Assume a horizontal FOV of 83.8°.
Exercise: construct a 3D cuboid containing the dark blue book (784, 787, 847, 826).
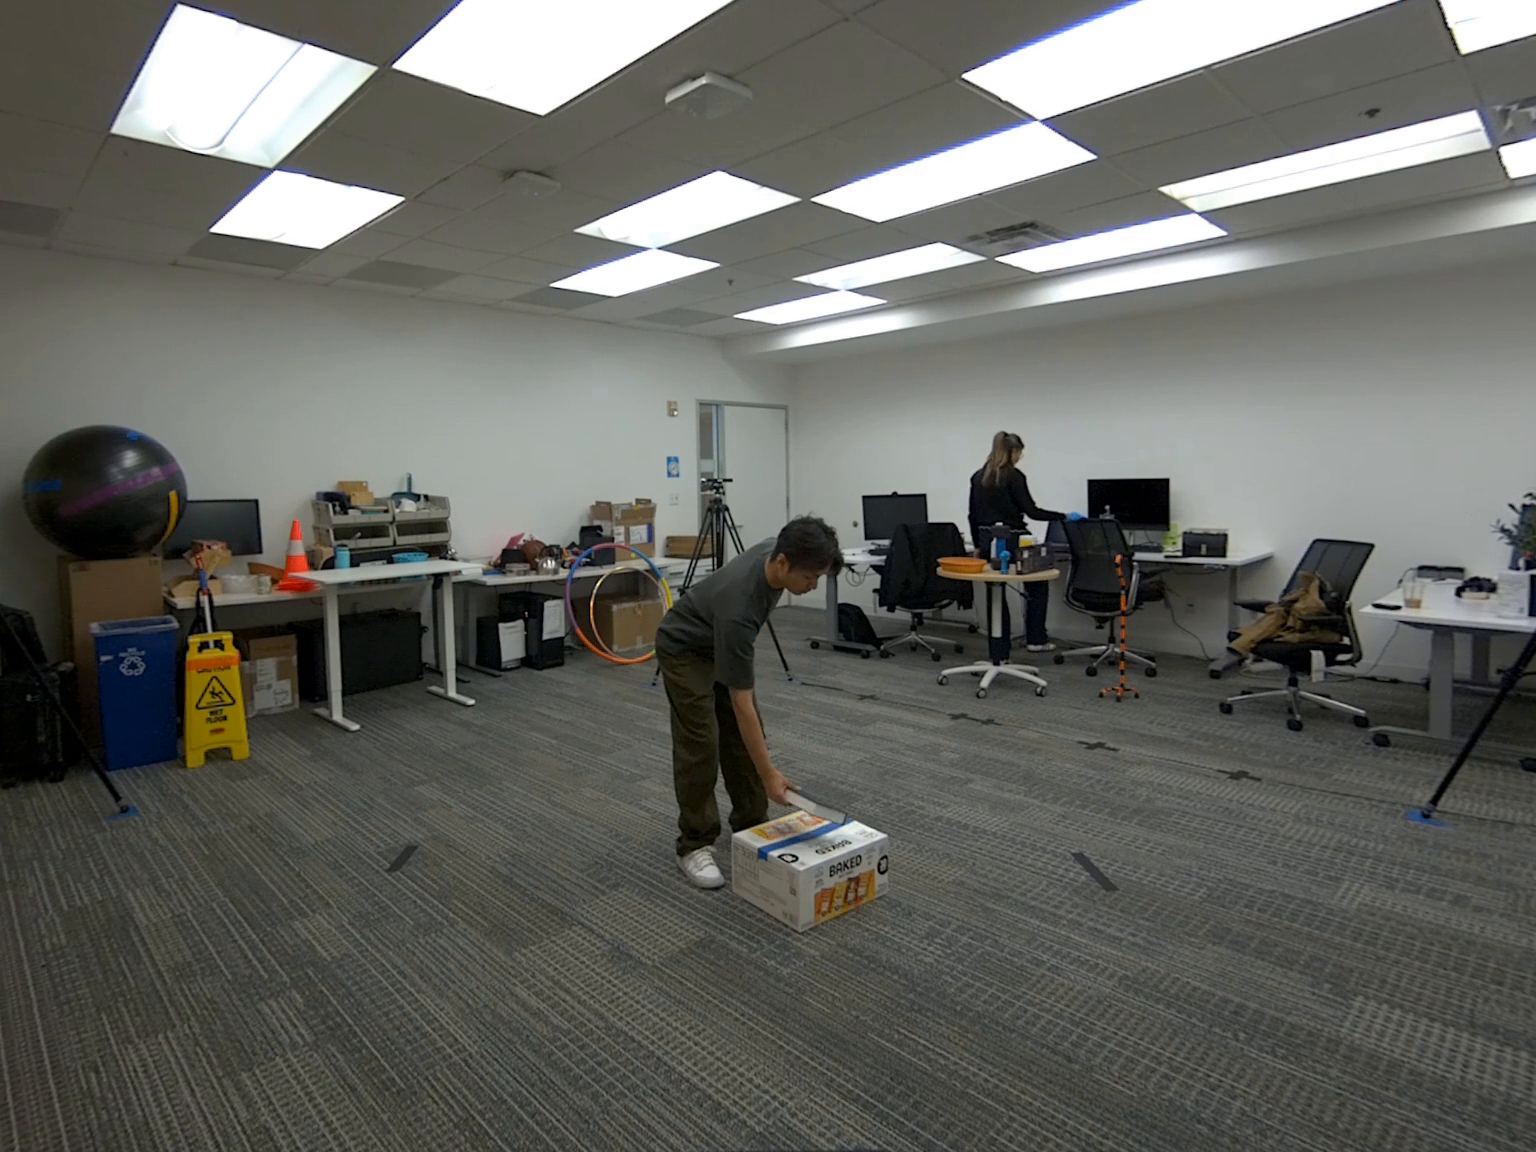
[{"bbox_3d":[0.131,0.748,2.858,0.157,0.045,0.253,27,-9,-36],"label":"dark blue book"}]
